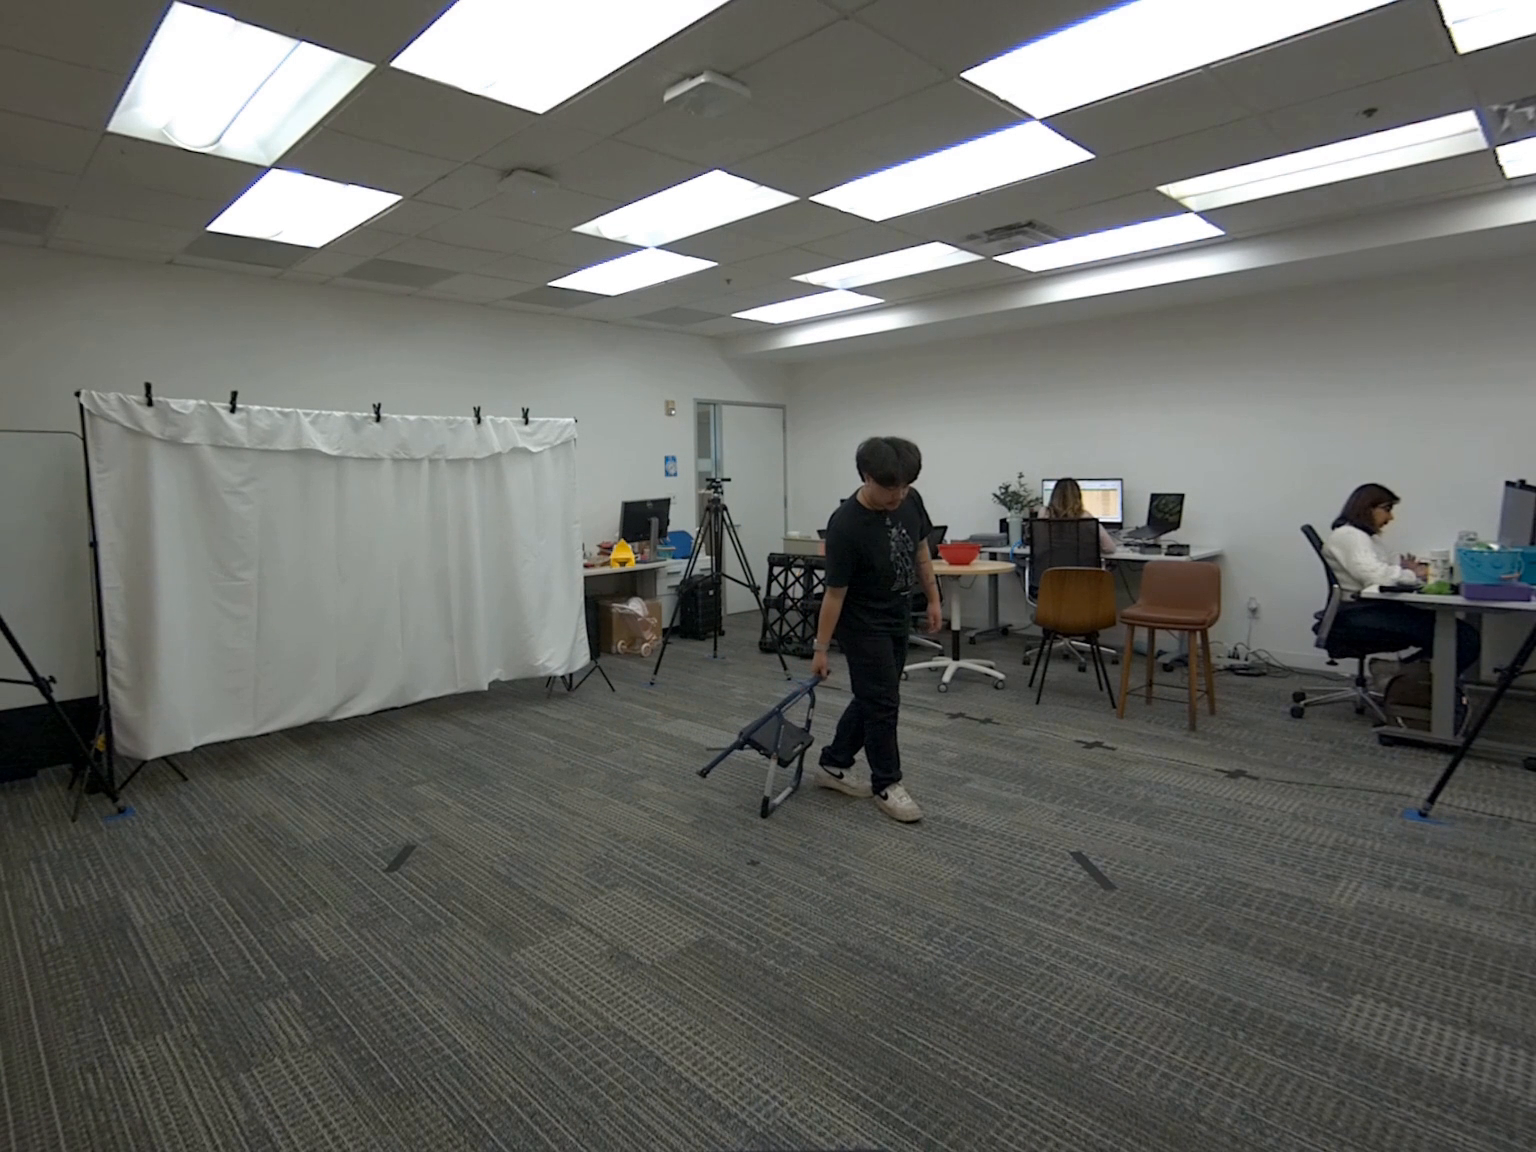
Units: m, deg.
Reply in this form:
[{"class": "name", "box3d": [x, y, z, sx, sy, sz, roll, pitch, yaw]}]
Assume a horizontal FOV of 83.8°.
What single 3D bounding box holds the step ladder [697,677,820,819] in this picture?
[{"class": "step ladder", "box3d": [0.040, 0.638, 3.677, 0.358, 0.602, 0.423, 29, 15, 18]}]
